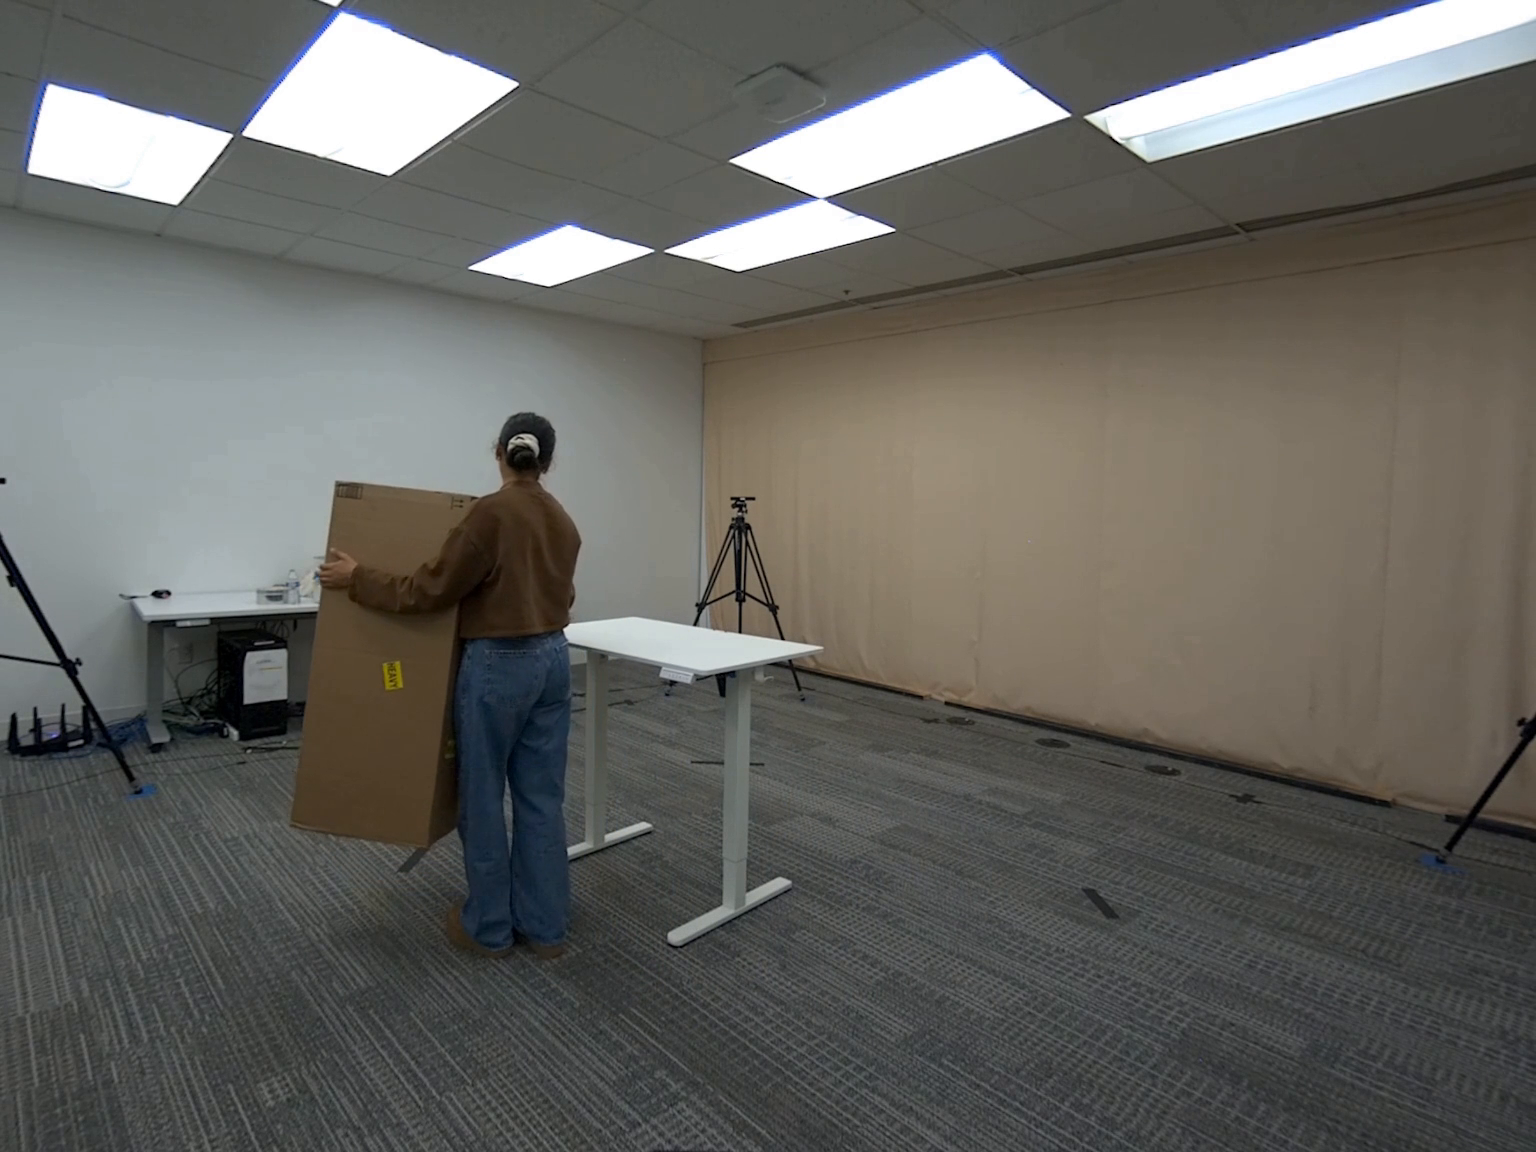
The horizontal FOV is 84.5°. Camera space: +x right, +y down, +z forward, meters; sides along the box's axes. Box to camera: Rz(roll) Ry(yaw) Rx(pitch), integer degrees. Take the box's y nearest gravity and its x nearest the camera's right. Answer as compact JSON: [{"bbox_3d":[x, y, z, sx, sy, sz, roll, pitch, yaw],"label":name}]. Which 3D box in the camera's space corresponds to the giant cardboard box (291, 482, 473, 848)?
[{"bbox_3d":[-1.118,0.250,2.723,0.428,1.026,0.575,7,-1,3],"label":"giant cardboard box"}]
